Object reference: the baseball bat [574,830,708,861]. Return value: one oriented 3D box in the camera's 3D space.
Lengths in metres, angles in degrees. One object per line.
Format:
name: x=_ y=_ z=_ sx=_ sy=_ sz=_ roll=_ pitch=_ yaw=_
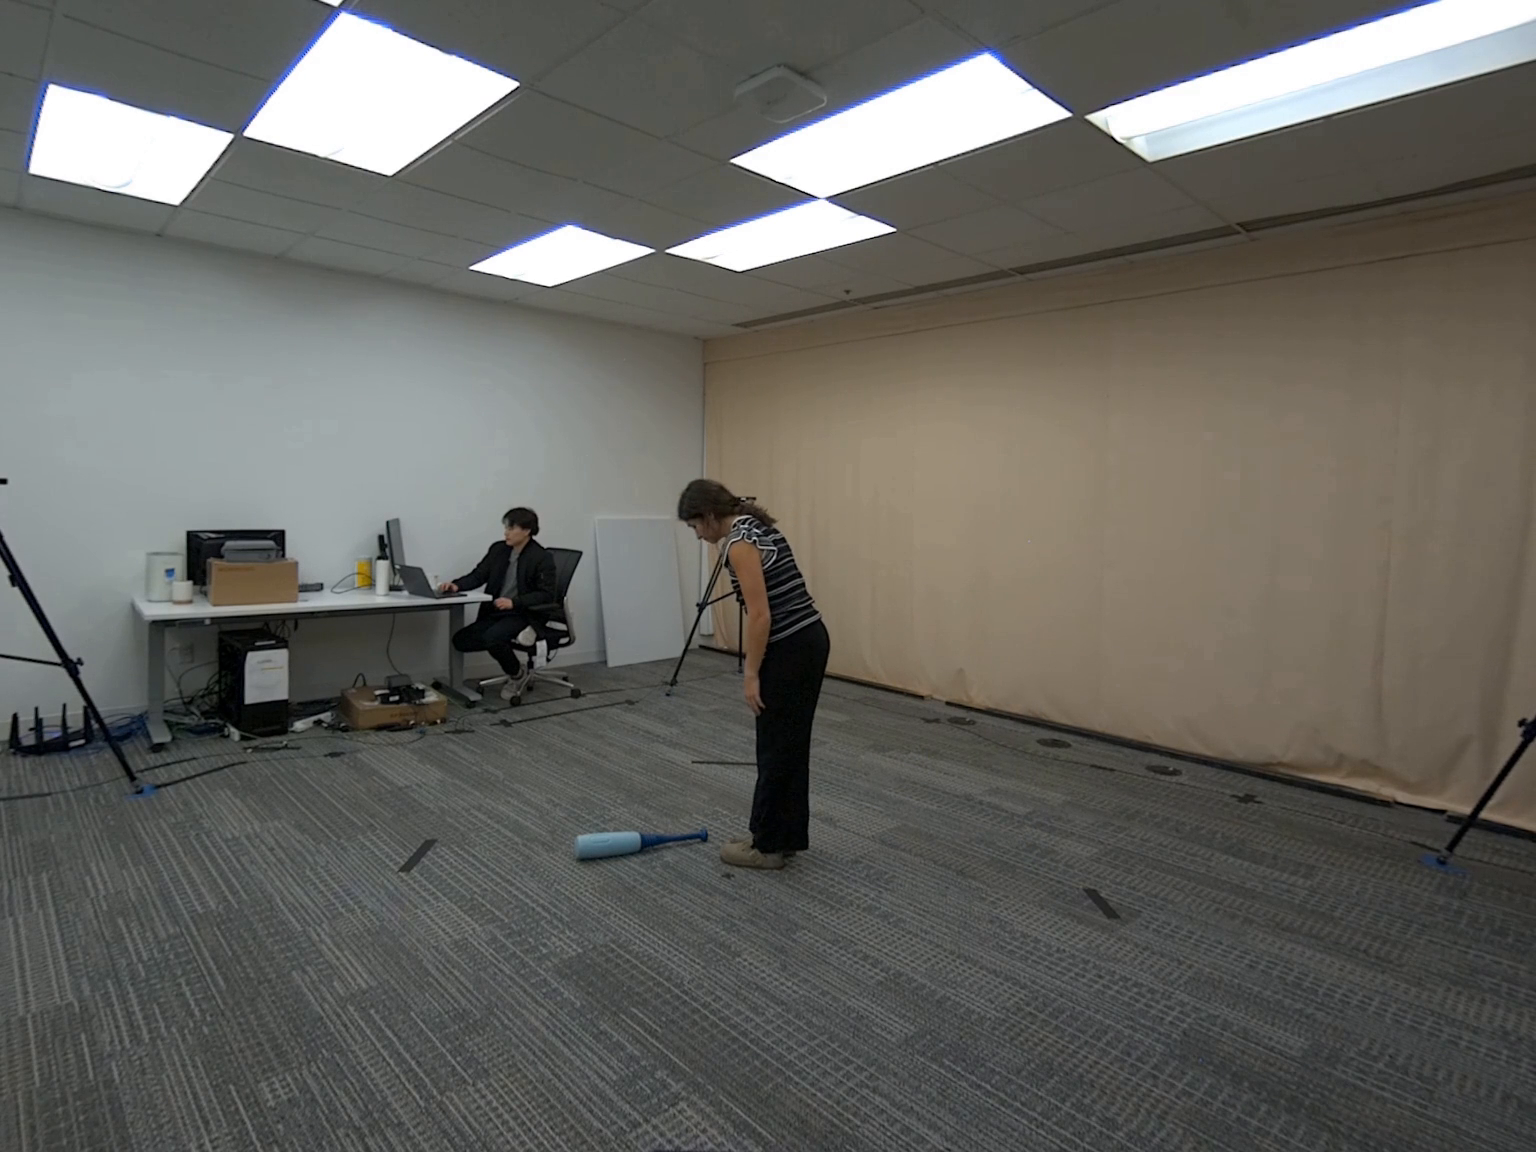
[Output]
baseball bat: x=-0.495 y=1.042 z=3.310 sx=0.533 sy=0.089 sz=0.091 roll=3 pitch=3 yaw=-23
